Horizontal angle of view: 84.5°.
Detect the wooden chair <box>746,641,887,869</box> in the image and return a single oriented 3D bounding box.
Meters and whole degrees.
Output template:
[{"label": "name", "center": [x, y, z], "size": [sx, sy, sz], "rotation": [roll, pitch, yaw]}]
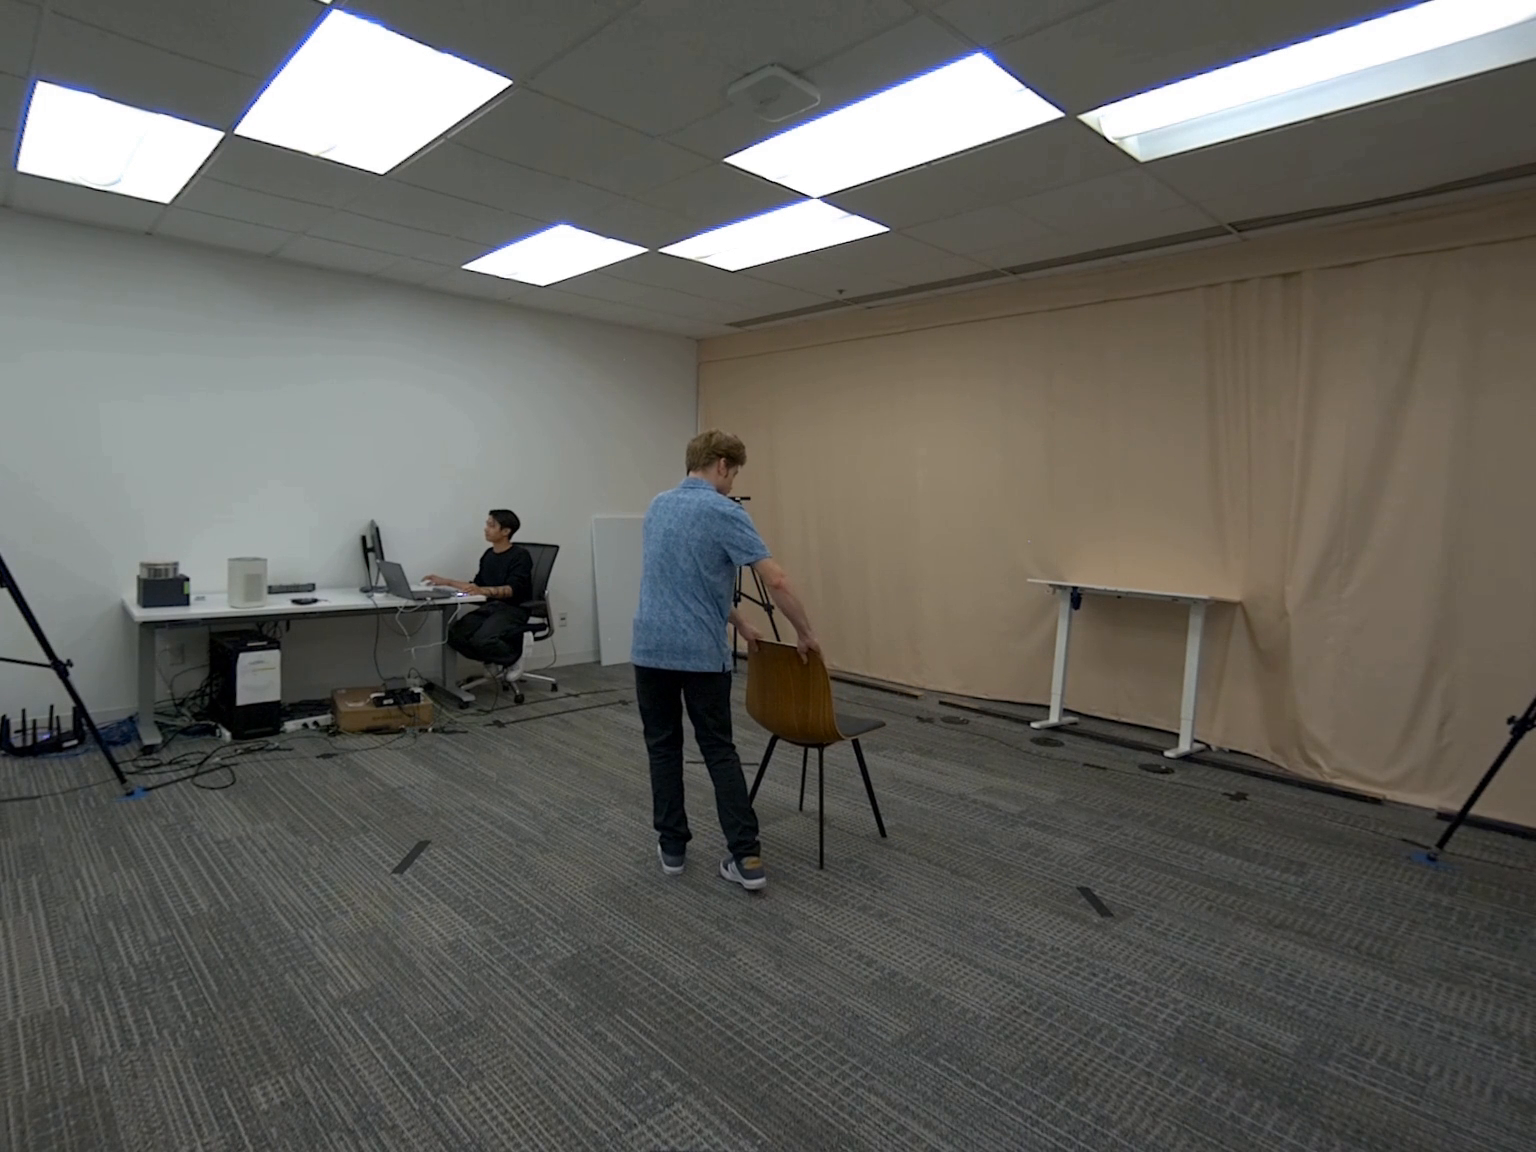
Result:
[{"label": "wooden chair", "center": [0.185, 0.652, 3.462], "size": [0.490, 0.873, 0.512], "rotation": [4, 8, 41]}]
